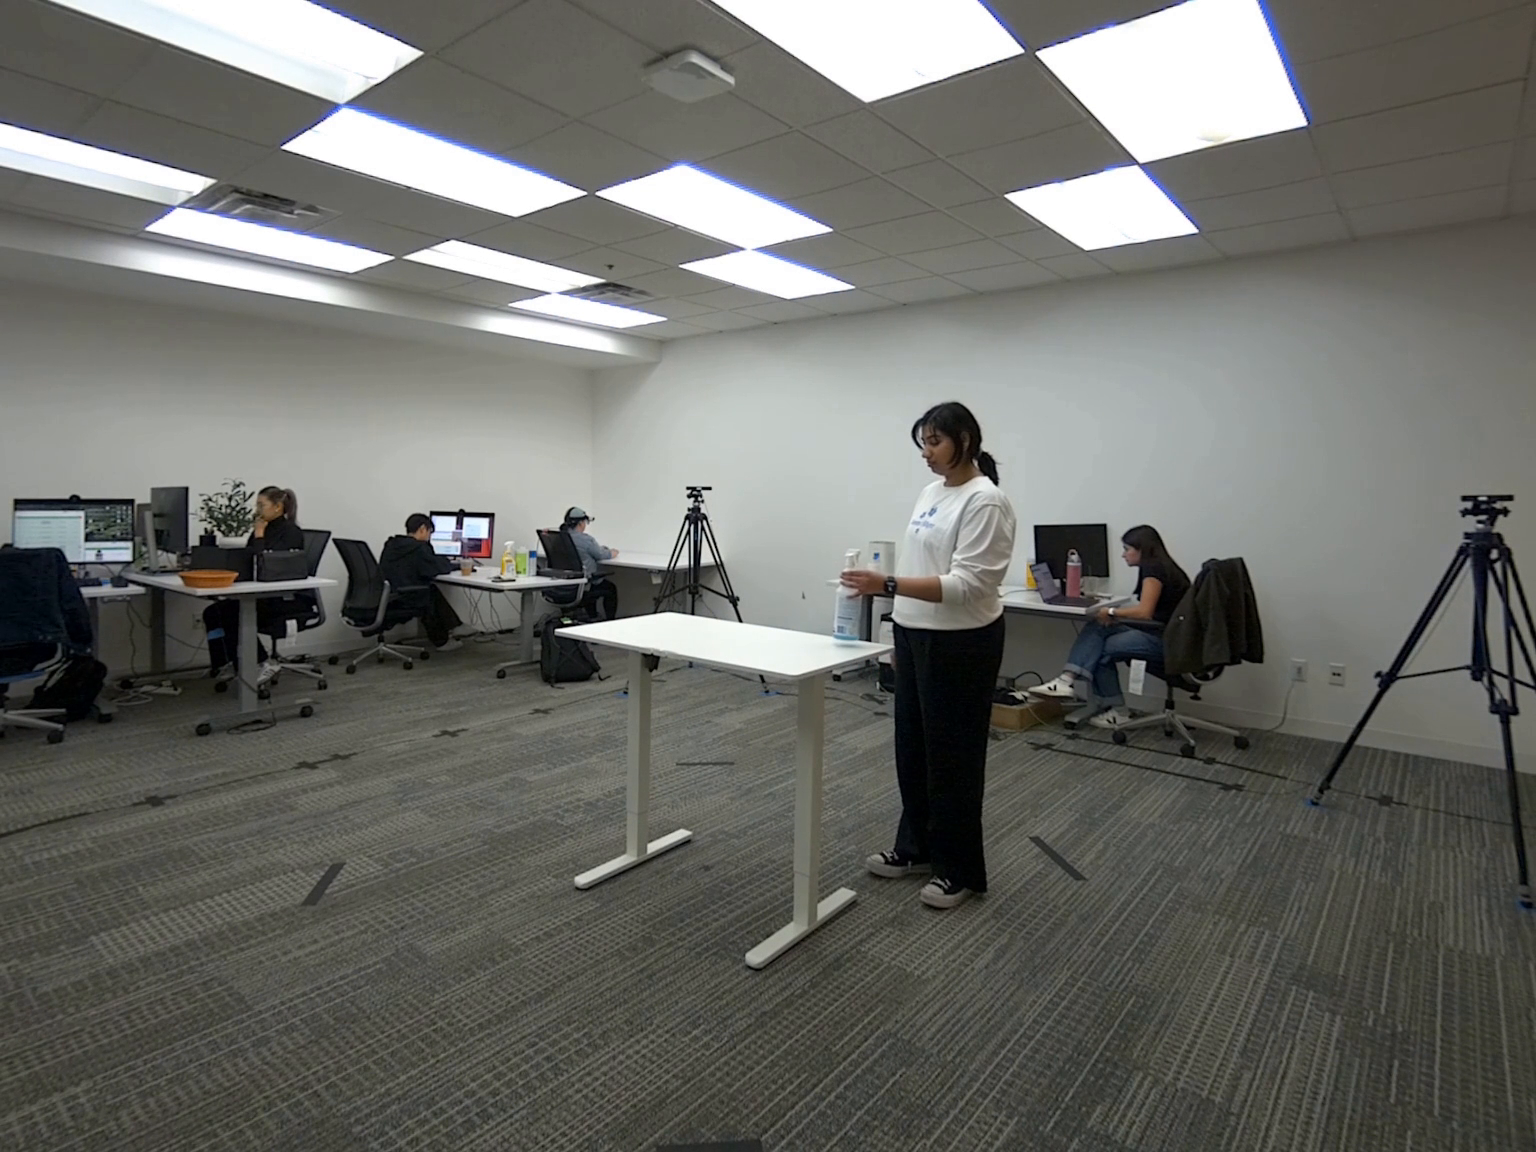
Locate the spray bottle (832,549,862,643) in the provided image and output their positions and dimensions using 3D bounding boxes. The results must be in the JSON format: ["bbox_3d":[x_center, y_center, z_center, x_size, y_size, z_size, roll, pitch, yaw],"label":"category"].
[{"bbox_3d":[0.269,0.061,2.776,0.088,0.297,0.089,4,2,6],"label":"spray bottle"}]
